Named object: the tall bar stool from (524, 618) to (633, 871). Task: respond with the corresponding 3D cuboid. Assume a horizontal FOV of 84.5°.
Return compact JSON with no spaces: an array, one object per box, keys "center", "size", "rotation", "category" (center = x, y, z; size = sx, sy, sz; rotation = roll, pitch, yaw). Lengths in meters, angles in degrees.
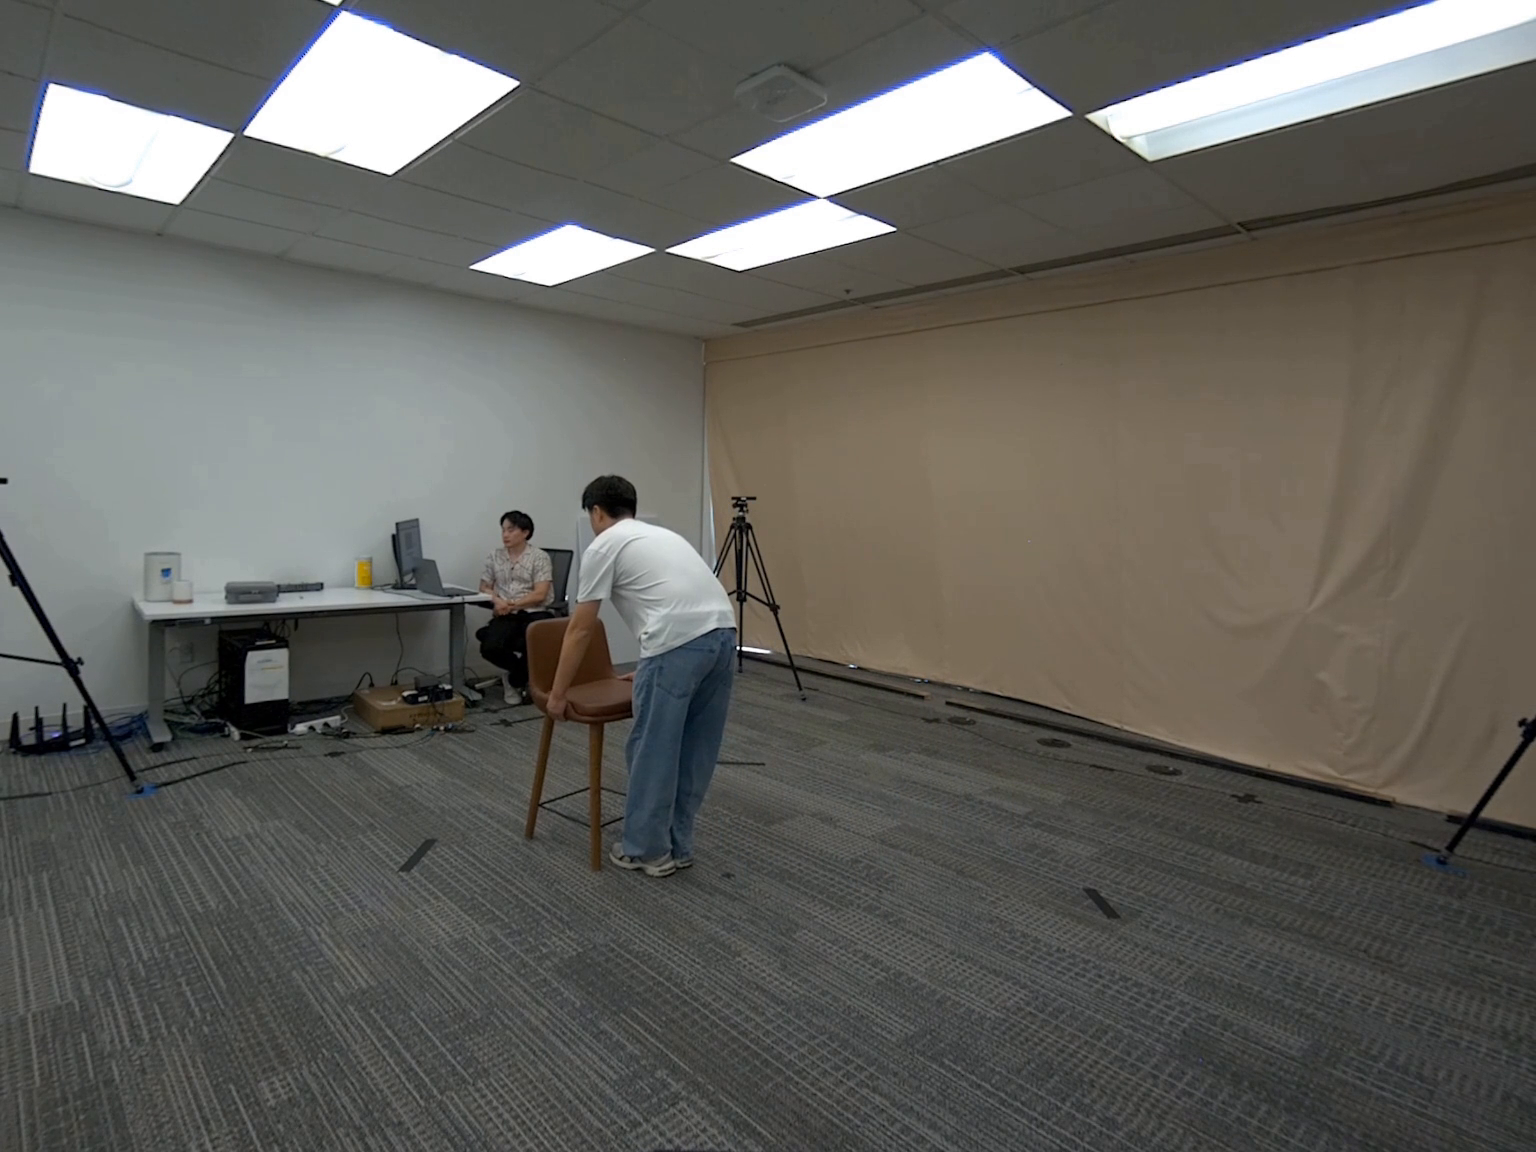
[{"center":[-0.699,0.630,3.395],"size":[0.479,0.889,0.446],"rotation":[1,2,38],"category":"tall bar stool"}]
